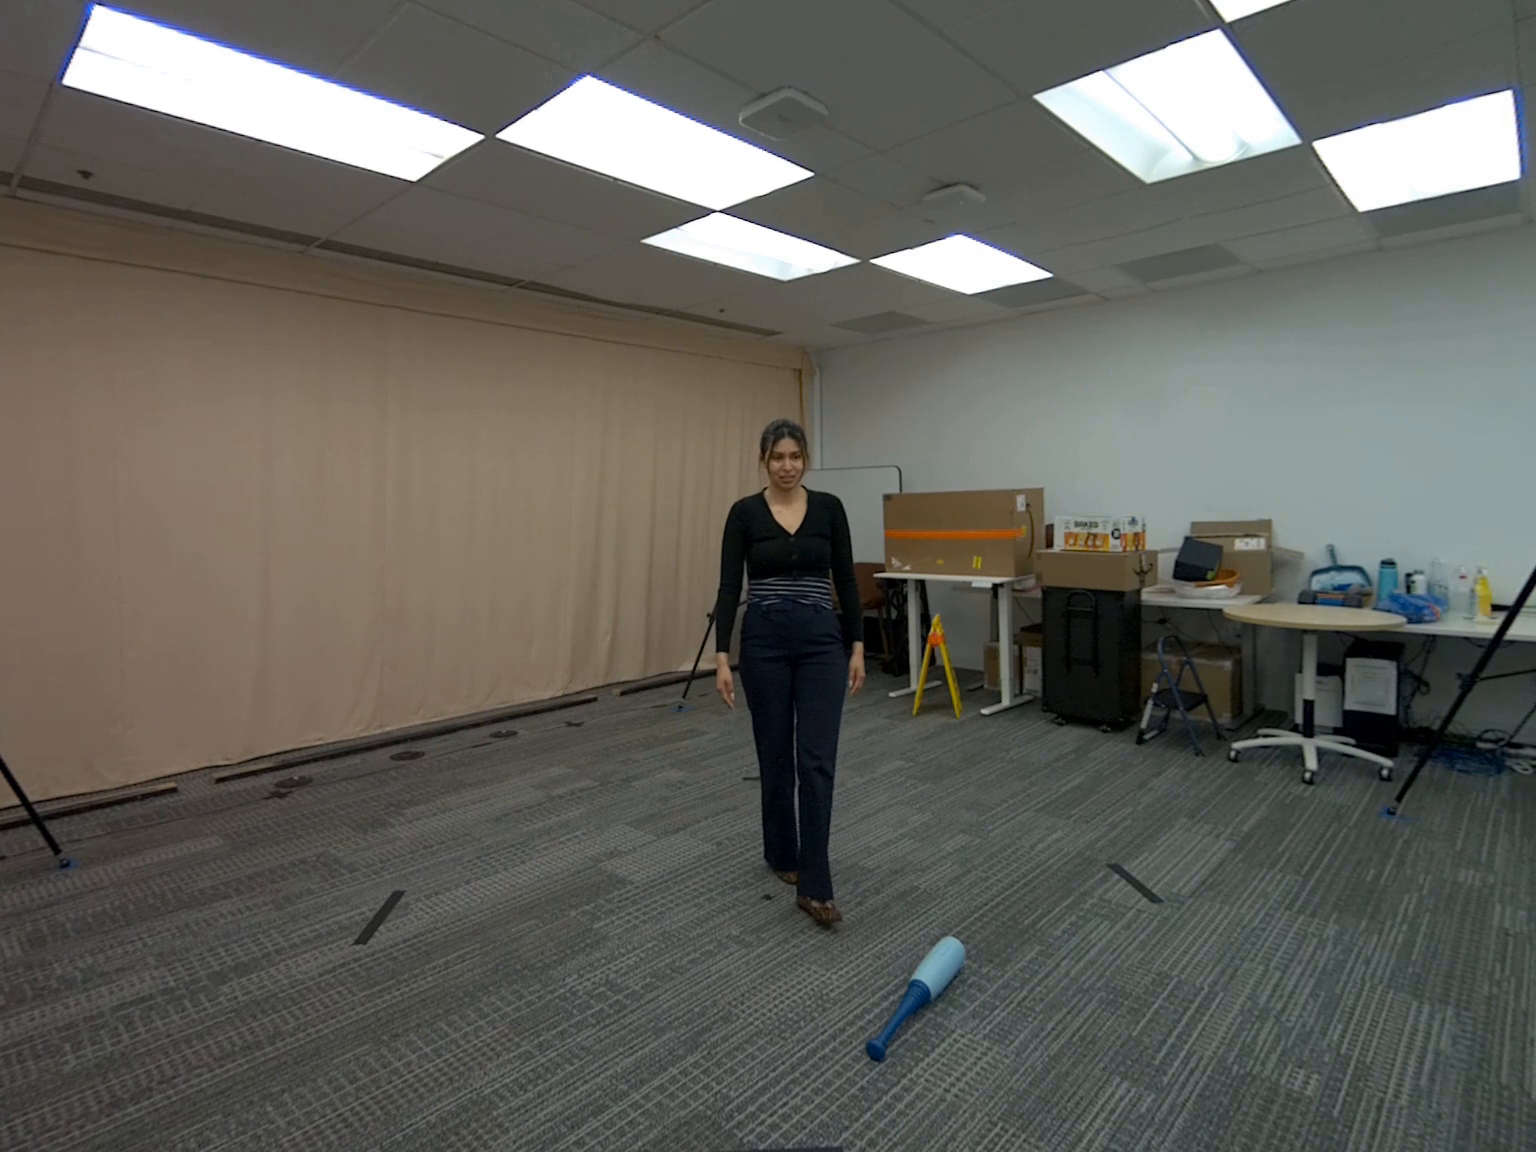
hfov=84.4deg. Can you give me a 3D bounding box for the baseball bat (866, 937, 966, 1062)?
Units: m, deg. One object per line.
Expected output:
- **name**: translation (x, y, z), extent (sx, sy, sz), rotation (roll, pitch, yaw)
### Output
- **baseball bat**: translation (0.418, 1.154, 2.306), extent (0.092, 0.089, 0.529), rotation (2, 8, 34)
